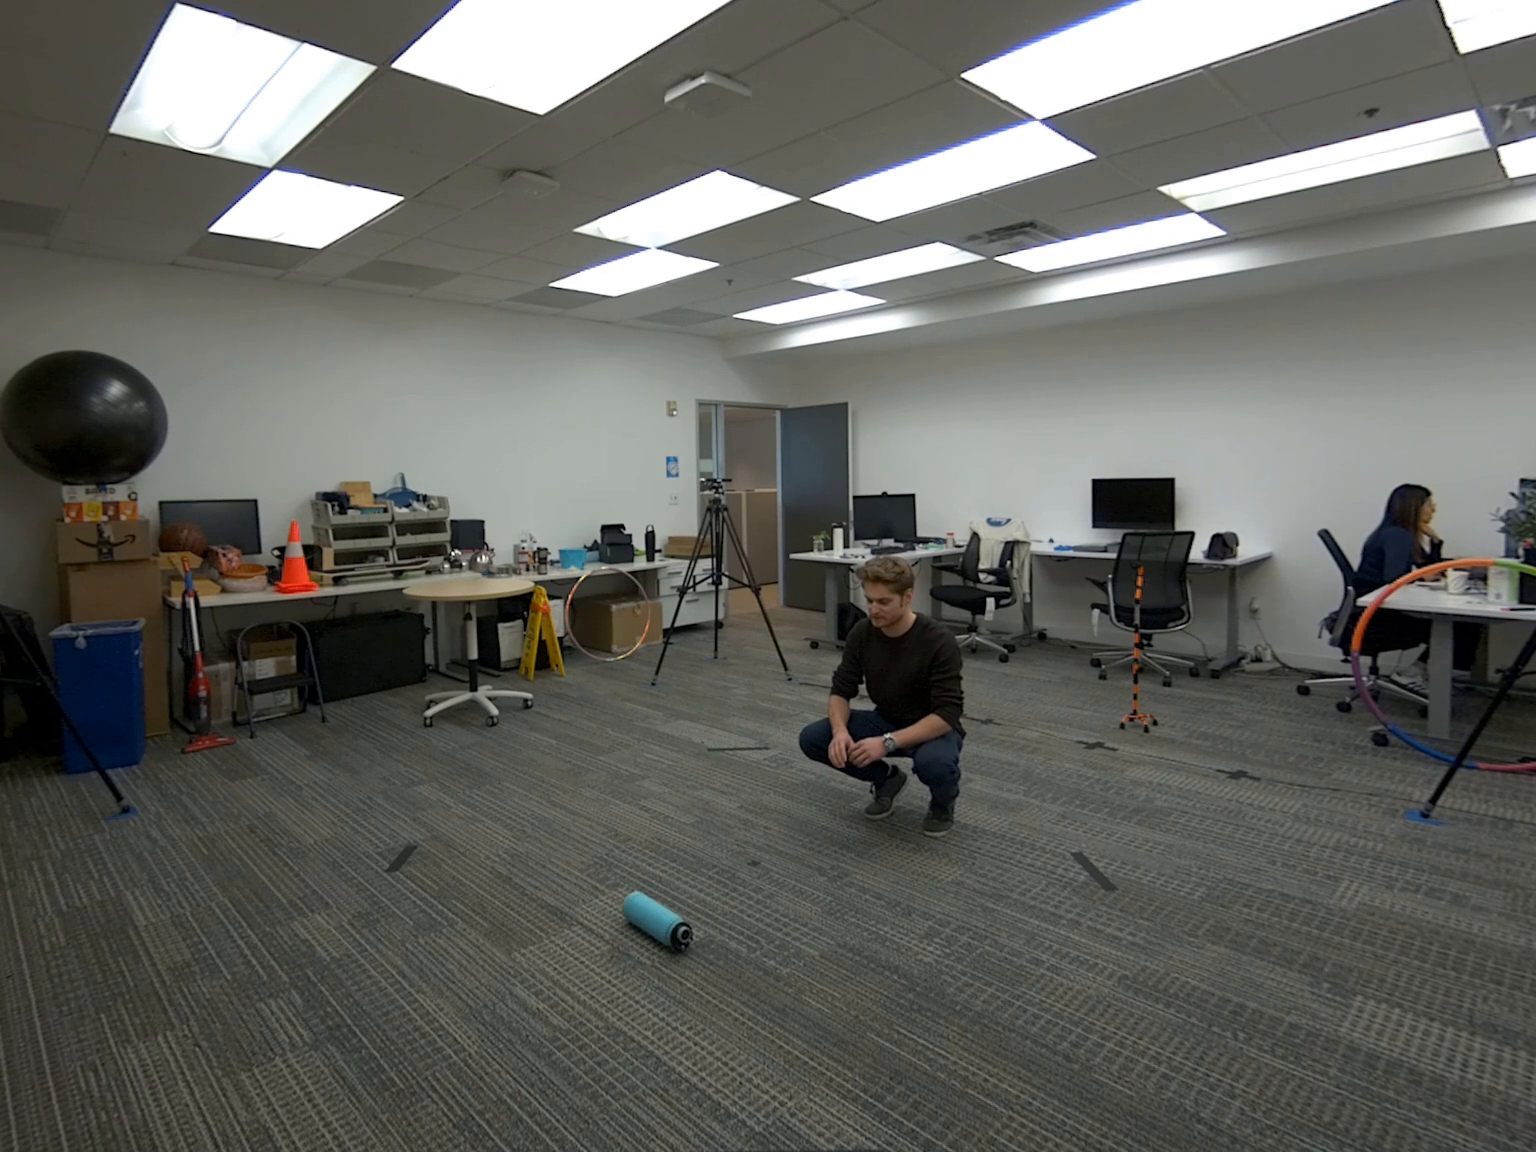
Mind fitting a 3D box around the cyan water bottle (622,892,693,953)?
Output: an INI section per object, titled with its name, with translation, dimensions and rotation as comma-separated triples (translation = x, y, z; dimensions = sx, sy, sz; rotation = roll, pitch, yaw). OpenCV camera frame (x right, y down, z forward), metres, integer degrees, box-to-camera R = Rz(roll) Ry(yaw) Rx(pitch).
[cyan water bottle]
translation = -0.342, 1.059, 2.616
dimensions = 0.090, 0.092, 0.292
rotation = -5, 7, -40
